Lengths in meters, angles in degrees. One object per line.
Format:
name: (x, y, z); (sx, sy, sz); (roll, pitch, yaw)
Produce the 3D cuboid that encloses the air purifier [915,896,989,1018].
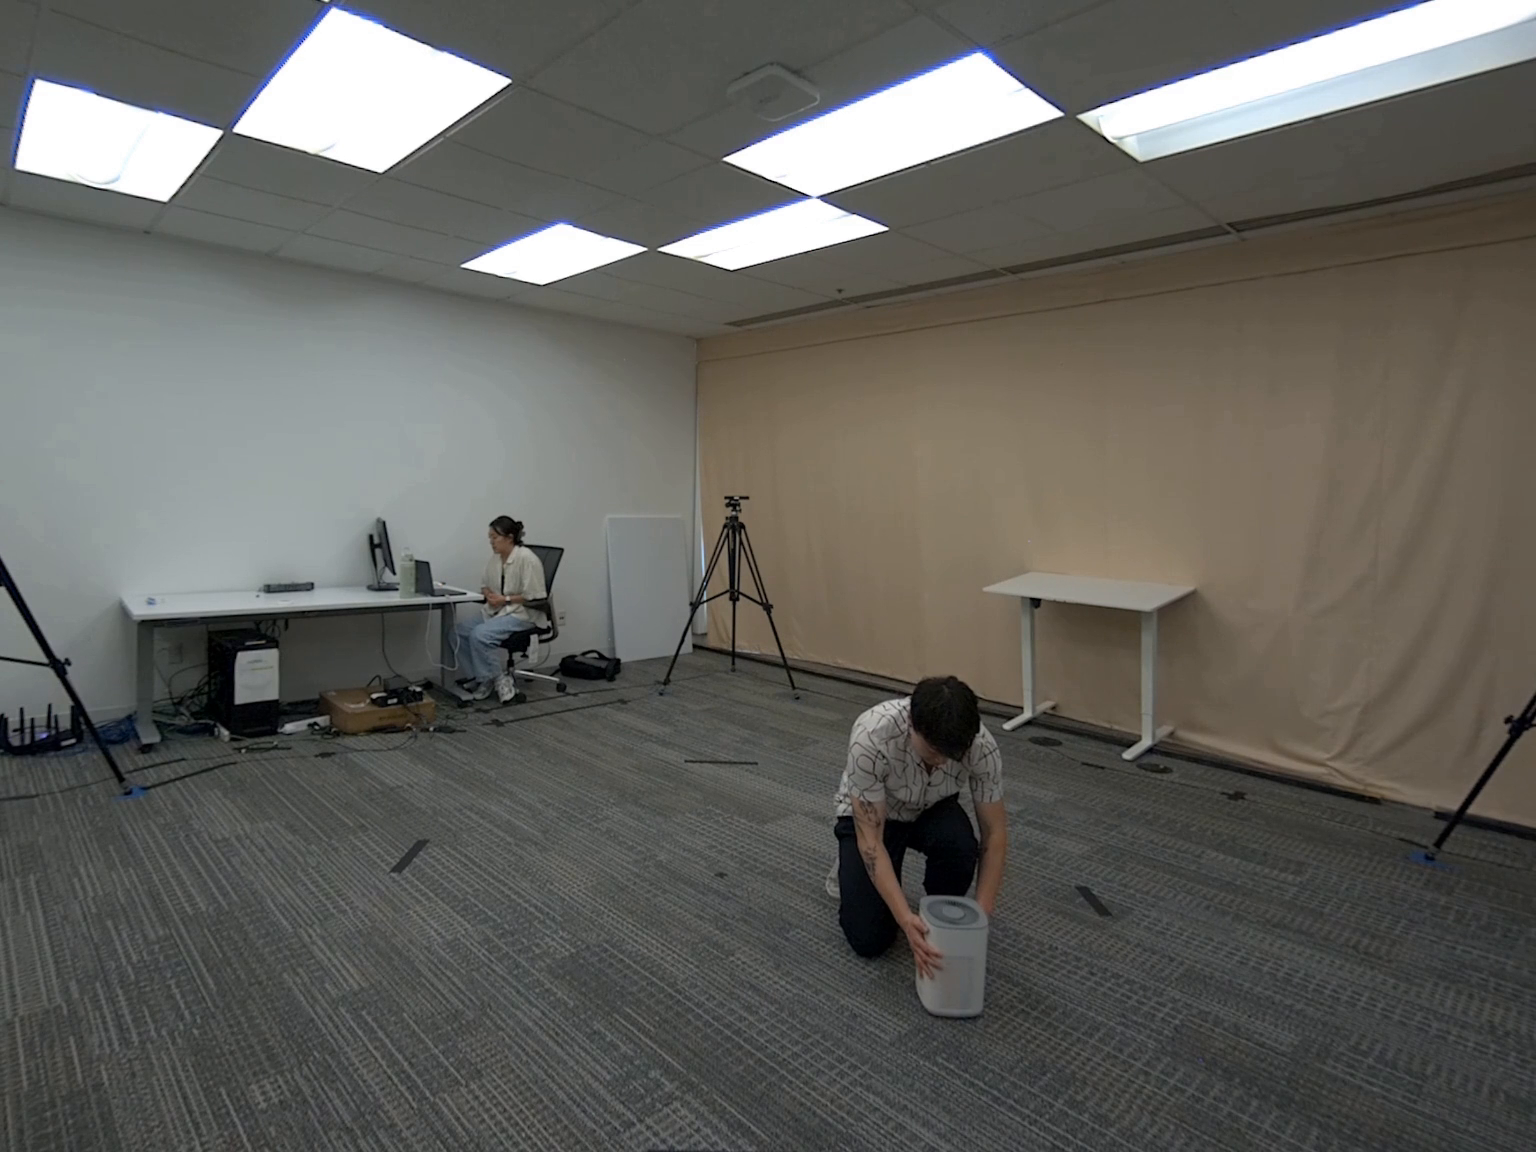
air purifier: (0.500, 1.058, 2.330); (0.171, 0.264, 0.172); (2, 6, -2)
